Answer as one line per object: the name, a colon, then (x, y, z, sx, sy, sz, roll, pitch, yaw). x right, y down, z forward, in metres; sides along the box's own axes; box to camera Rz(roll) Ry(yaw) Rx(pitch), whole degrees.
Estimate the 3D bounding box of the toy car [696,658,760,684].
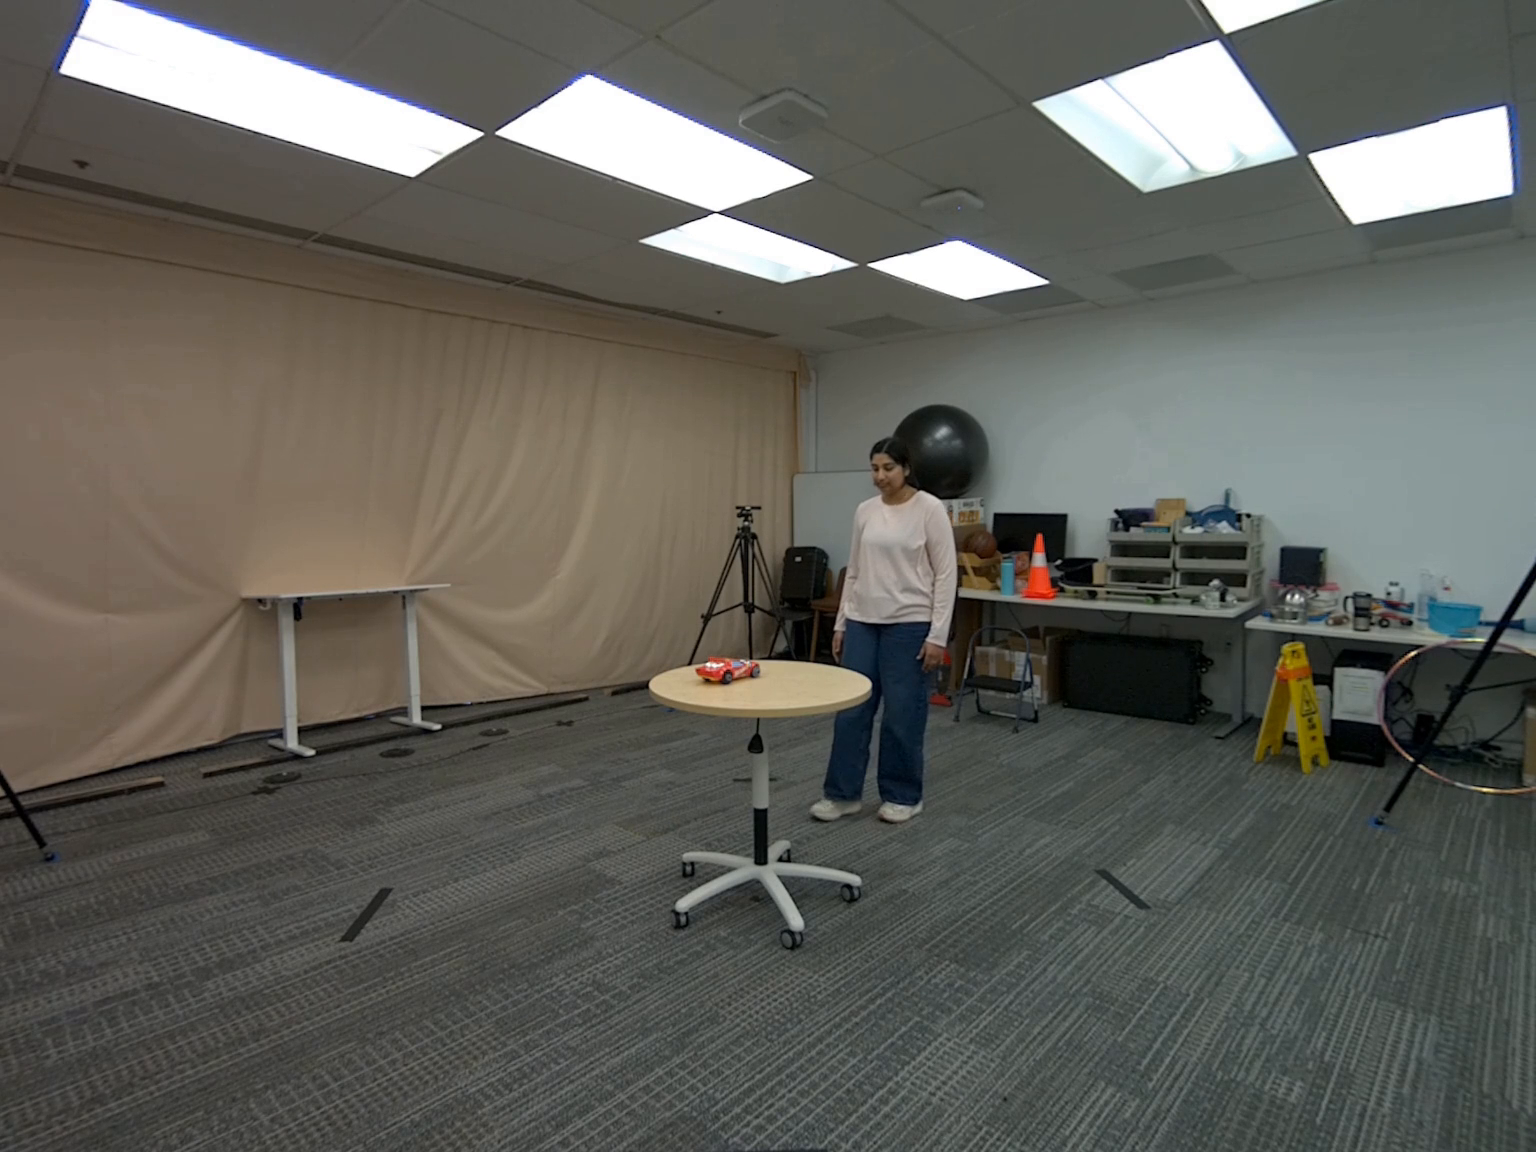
toy car: (-0.141, 0.333, 2.953, 0.135, 0.083, 0.246, 4, -5, 44)
